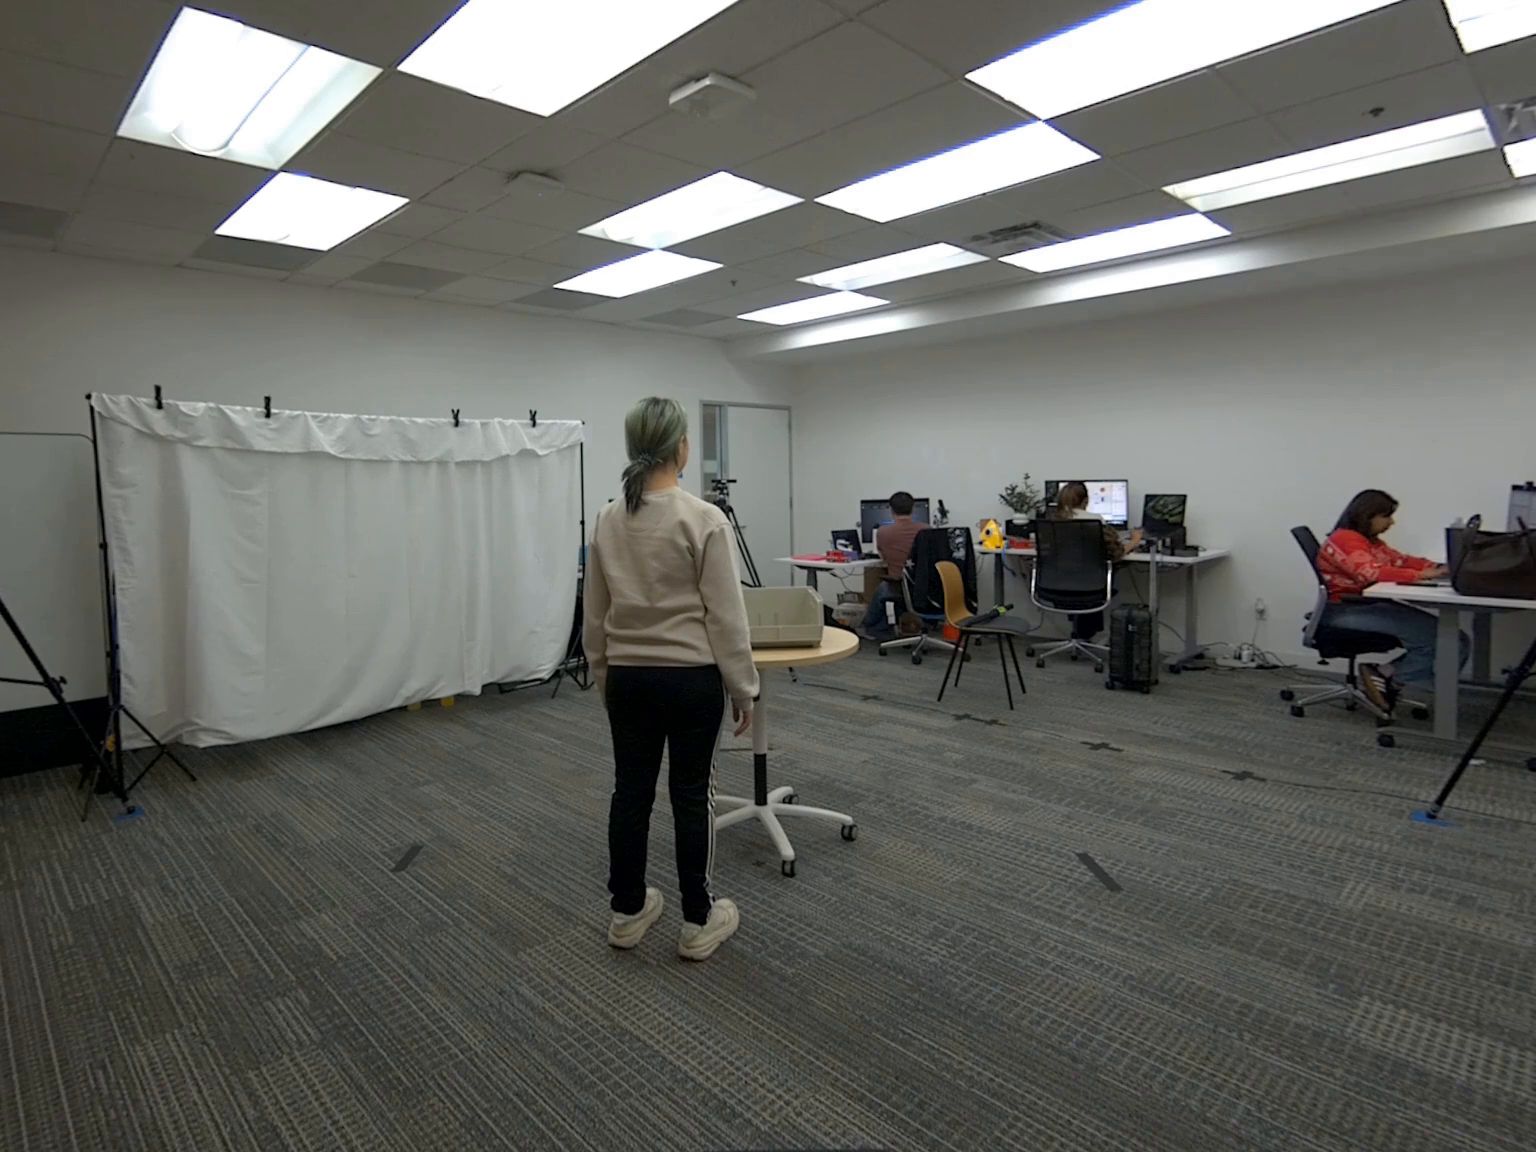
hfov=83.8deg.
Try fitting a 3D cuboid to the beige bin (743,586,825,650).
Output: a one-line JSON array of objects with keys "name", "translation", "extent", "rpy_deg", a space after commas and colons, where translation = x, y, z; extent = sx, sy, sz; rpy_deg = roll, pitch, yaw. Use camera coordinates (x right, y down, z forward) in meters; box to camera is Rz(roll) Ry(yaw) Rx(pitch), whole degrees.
[{"name": "beige bin", "translation": [-0.021, 0.168, 3.213], "extent": [0.422, 0.188, 0.380], "rpy_deg": [-2, 7, -2]}]
